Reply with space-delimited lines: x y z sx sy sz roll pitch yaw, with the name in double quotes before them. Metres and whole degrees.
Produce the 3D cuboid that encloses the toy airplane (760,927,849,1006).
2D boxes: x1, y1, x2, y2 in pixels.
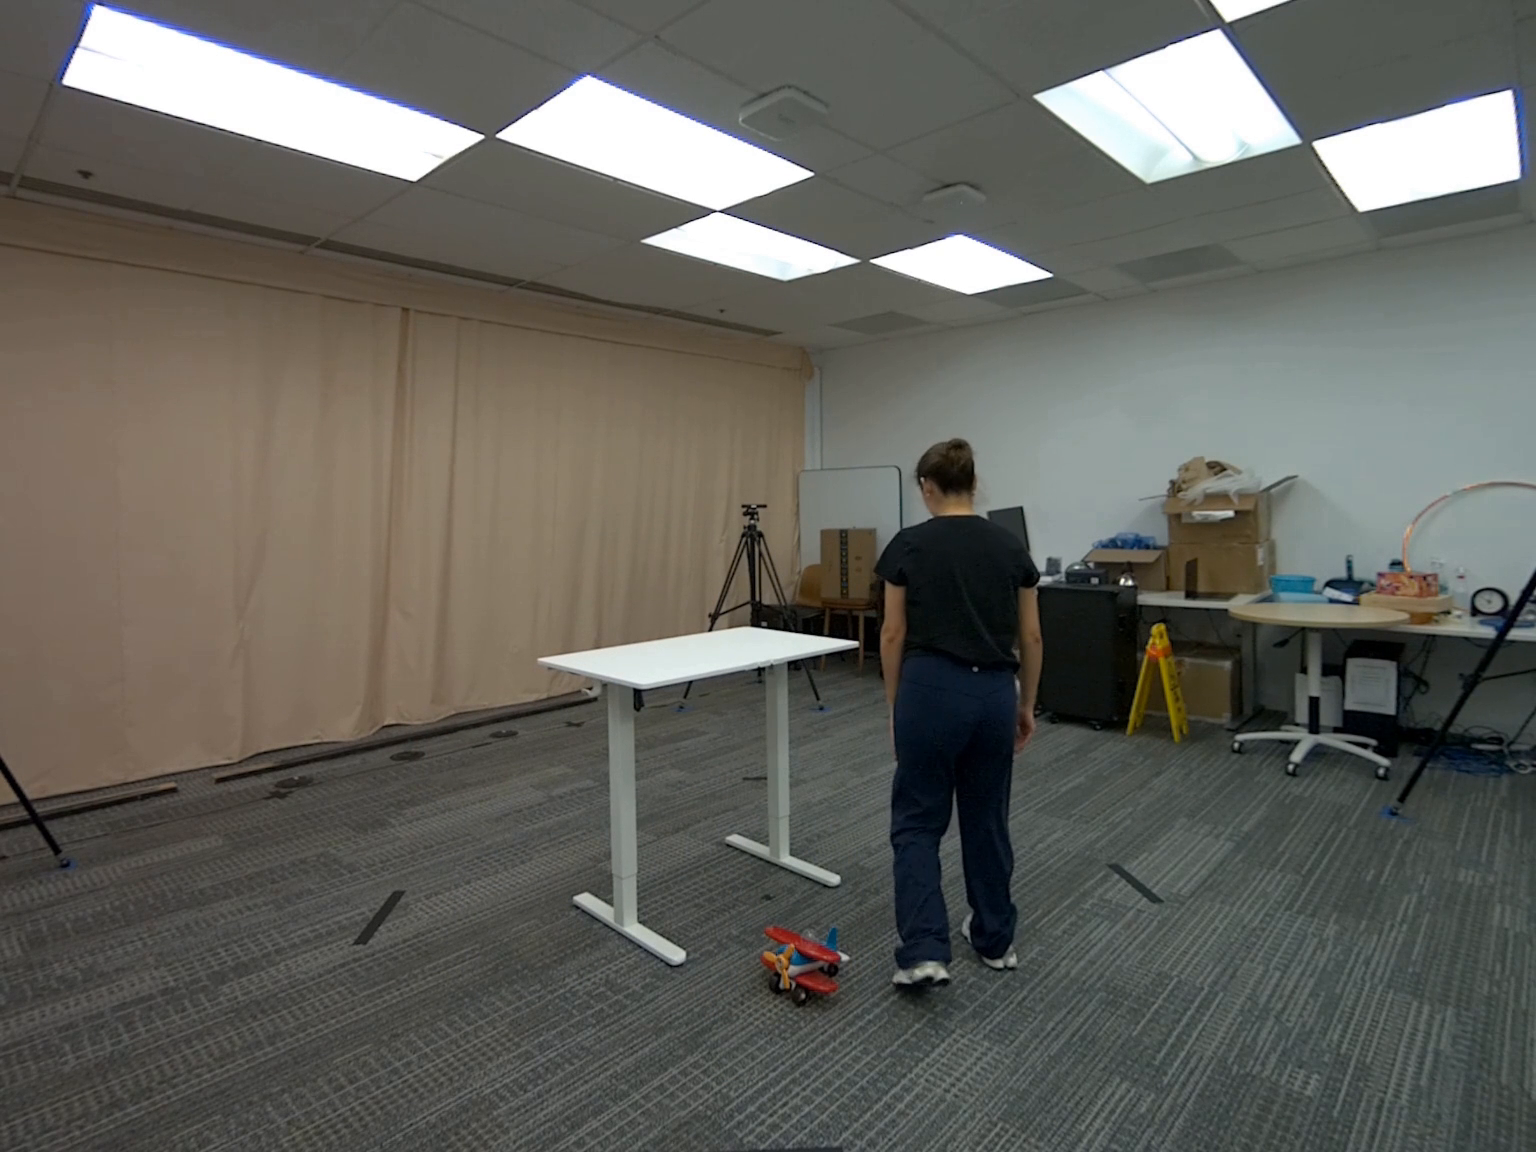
"toy airplane" 0.121 1.112 2.444 0.255 0.156 0.255 -1 5 15
